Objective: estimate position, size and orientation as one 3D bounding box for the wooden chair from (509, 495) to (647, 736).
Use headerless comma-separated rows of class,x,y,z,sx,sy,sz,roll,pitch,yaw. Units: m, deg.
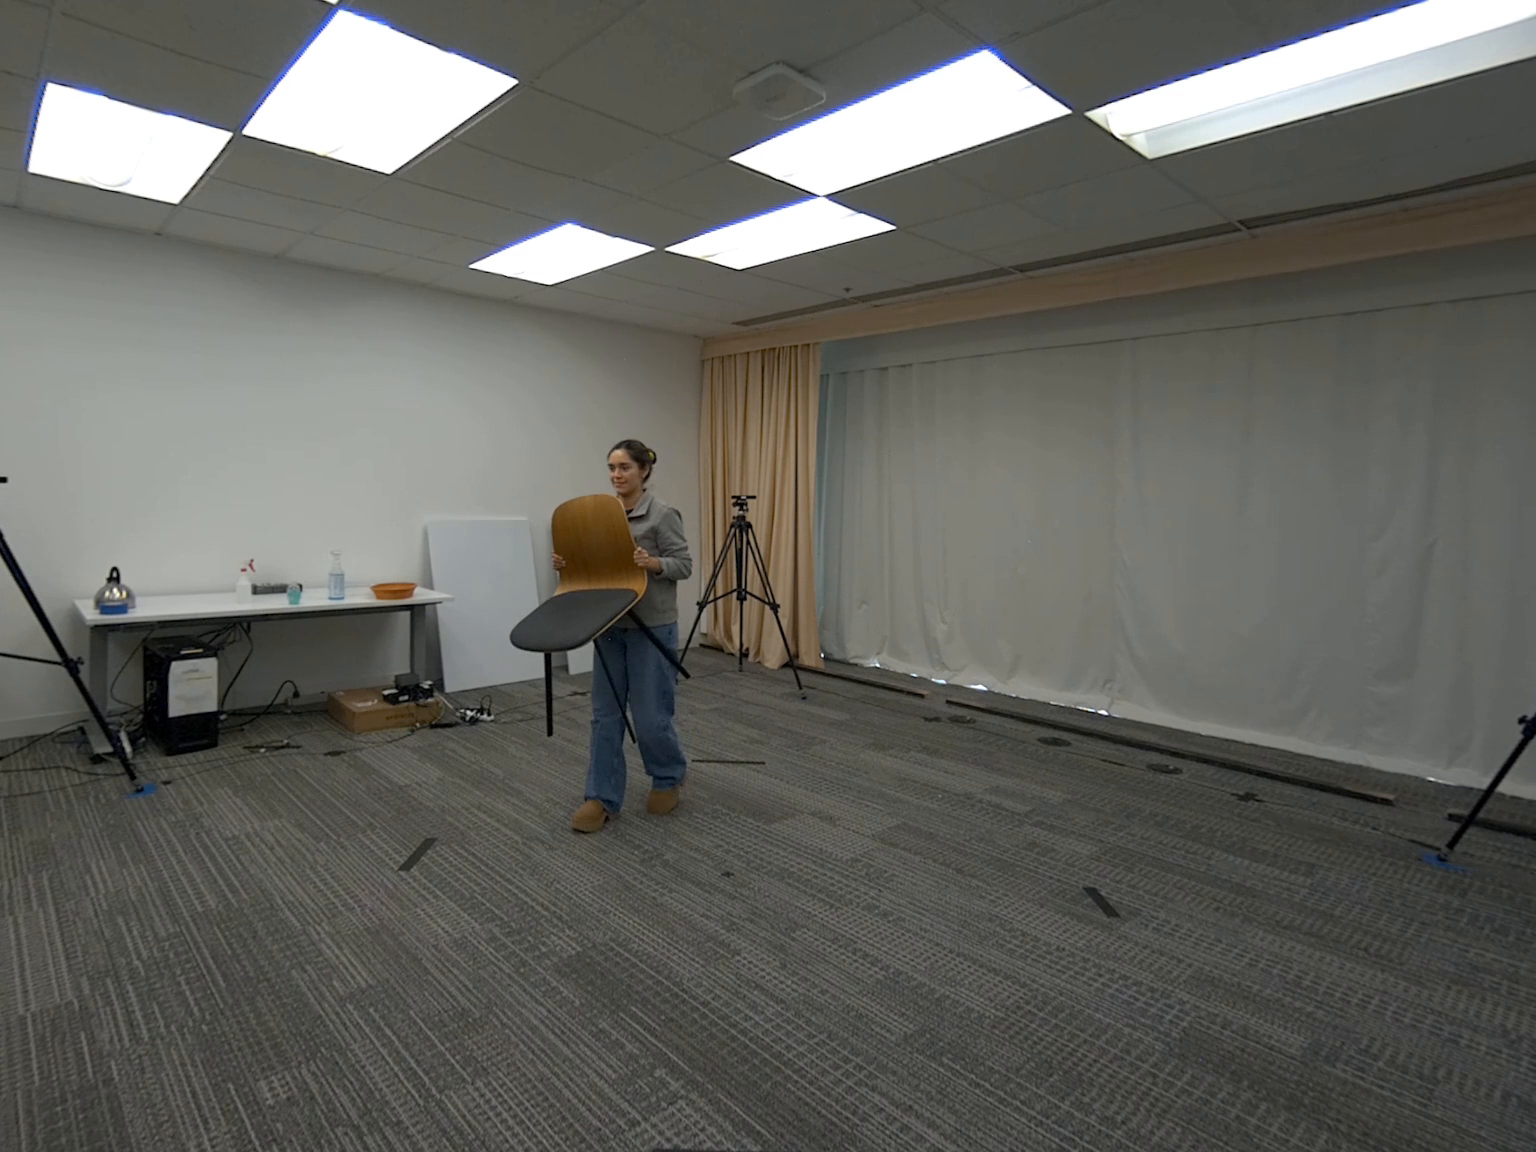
wooden chair,-0.729,0.177,3.346,0.488,0.864,0.520,-2,21,30
